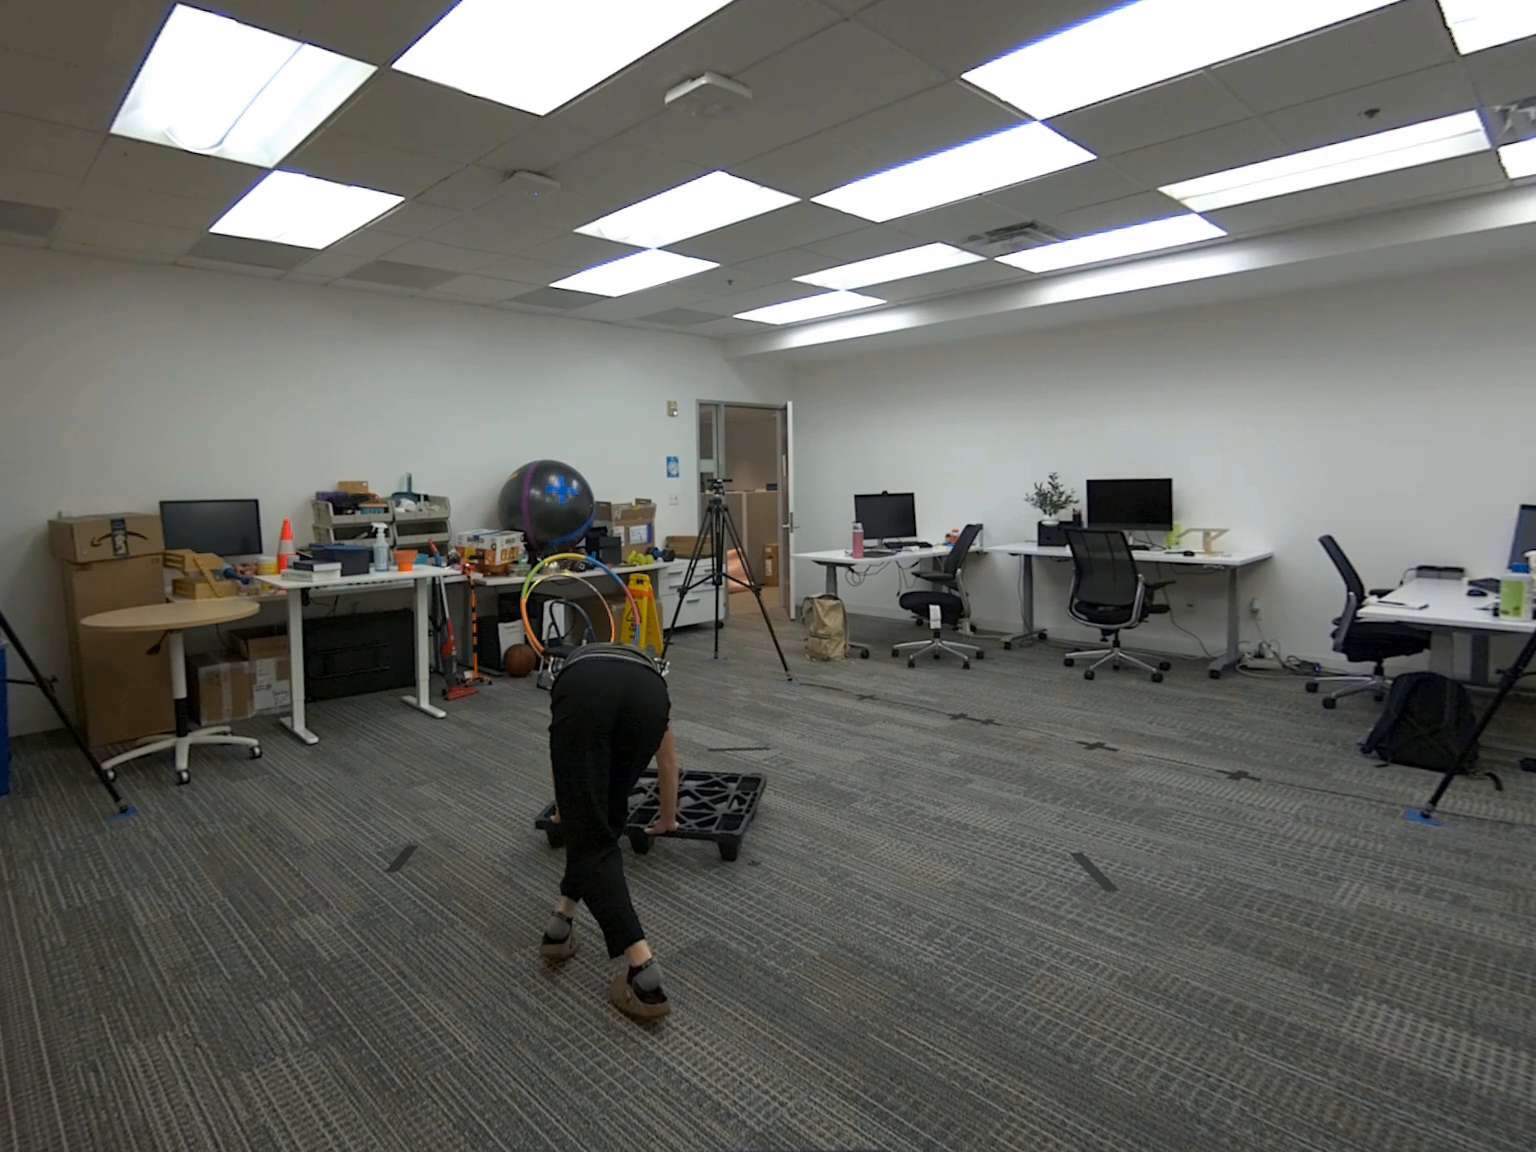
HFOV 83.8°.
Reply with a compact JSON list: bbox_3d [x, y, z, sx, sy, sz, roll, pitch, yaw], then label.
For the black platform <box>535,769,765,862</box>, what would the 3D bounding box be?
[{"bbox_3d":[-0.440,0.945,3.428,0.815,0.142,0.601,0,6,11],"label":"black platform"}]
